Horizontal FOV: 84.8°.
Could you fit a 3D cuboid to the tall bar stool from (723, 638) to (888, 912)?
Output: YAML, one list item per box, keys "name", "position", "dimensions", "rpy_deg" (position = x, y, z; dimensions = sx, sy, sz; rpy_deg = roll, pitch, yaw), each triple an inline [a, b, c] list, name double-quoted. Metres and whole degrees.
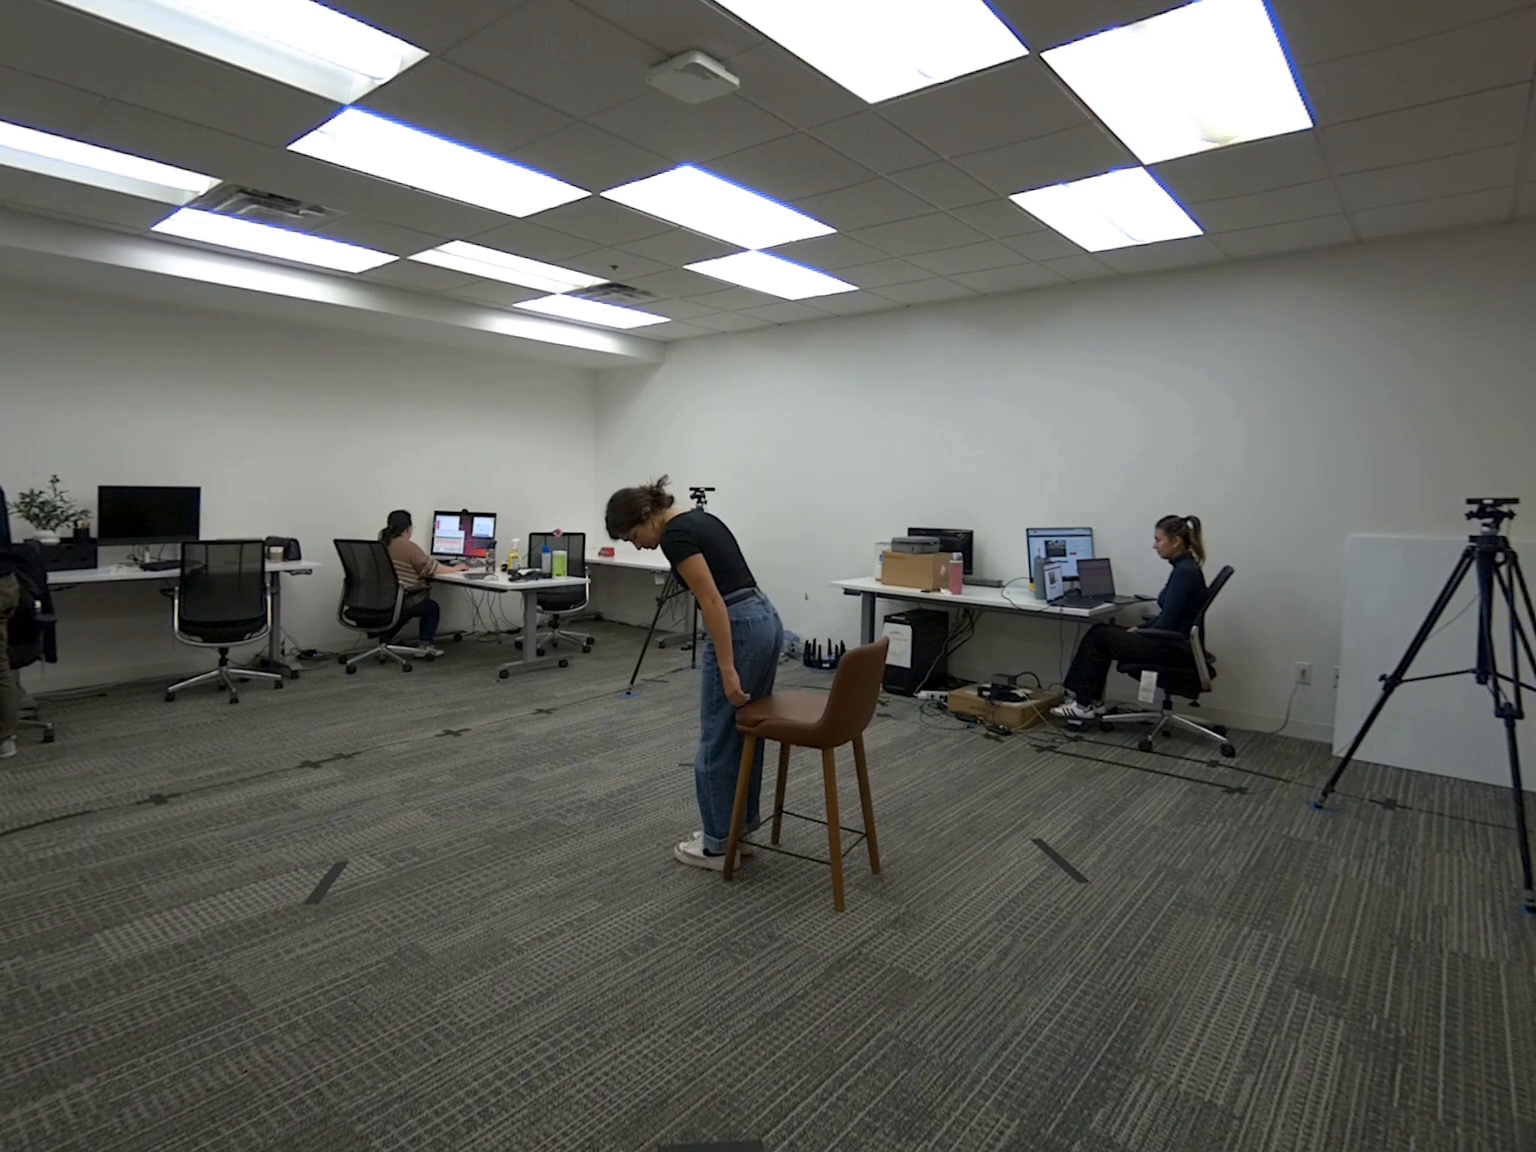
- name: "tall bar stool"
  position: [0.143, 0.649, 3.048]
  dimensions: [0.482, 0.886, 0.445]
  rpy_deg: [5, 5, 29]
